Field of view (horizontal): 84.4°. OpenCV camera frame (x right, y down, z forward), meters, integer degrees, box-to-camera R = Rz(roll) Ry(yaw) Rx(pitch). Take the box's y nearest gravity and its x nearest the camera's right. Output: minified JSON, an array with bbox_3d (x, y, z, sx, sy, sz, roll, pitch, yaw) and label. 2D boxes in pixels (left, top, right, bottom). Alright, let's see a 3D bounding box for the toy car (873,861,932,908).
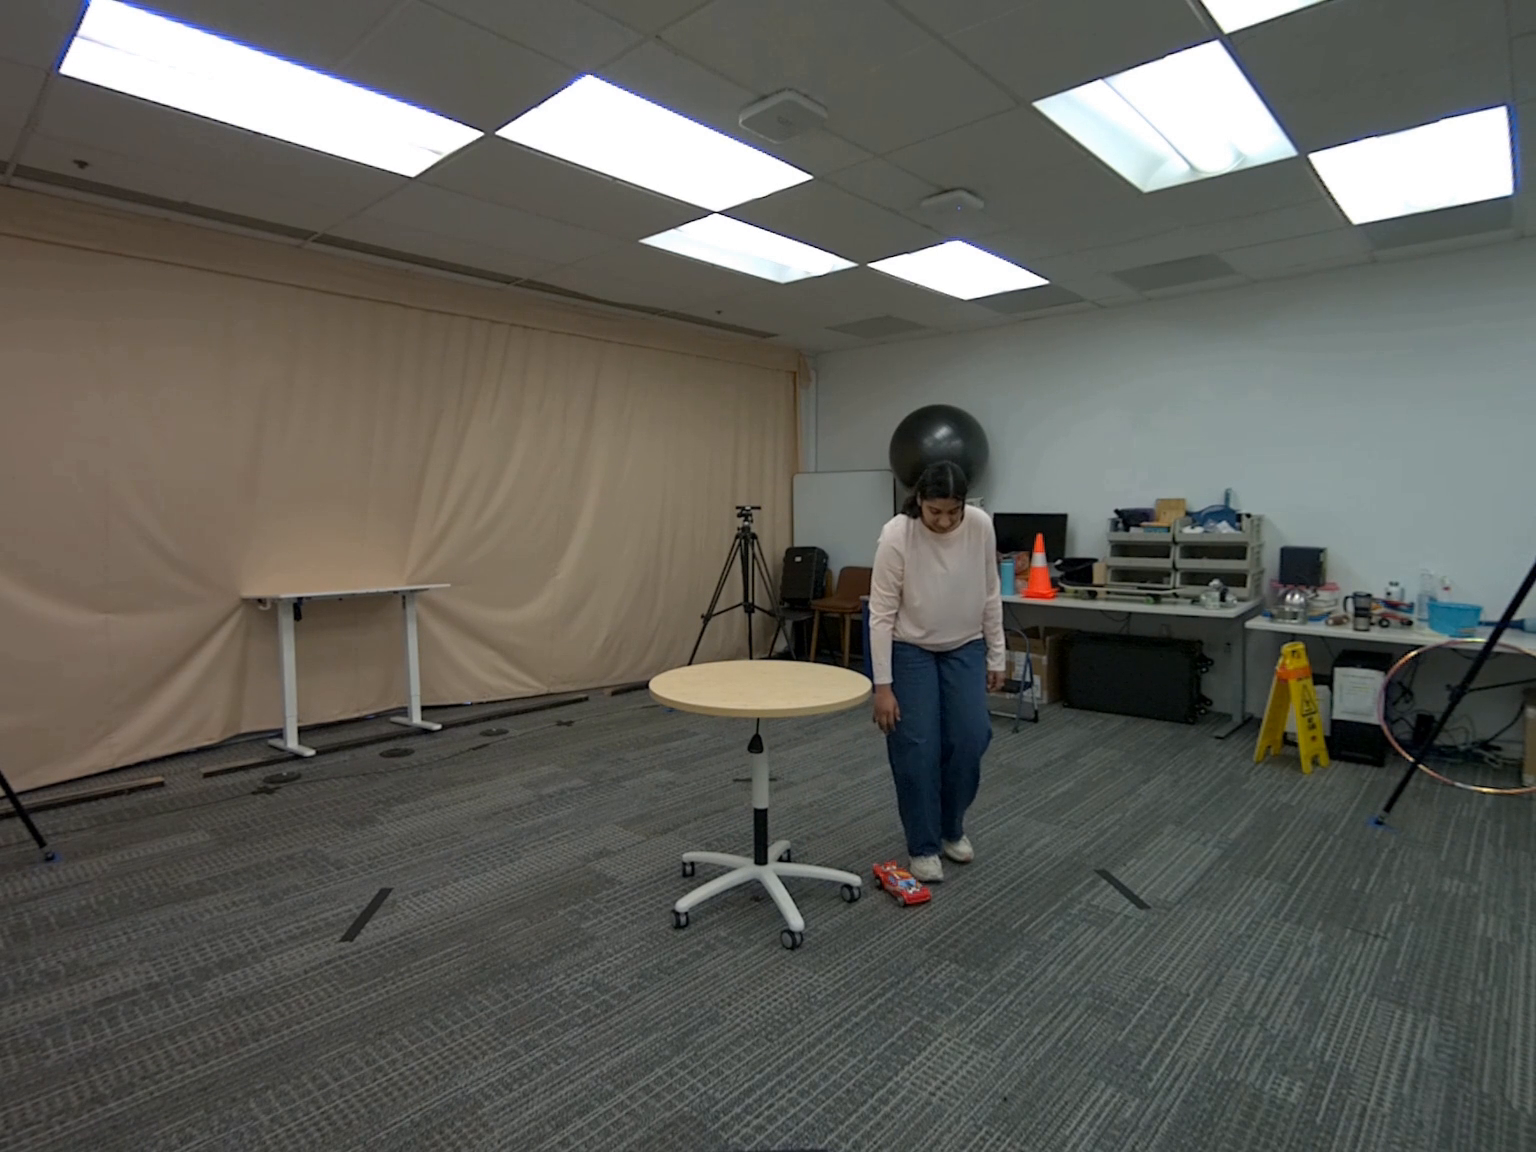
[{"bbox_3d":[0.481,1.107,3.028,0.127,0.082,0.262,-2,16,-22],"label":"toy car"}]
